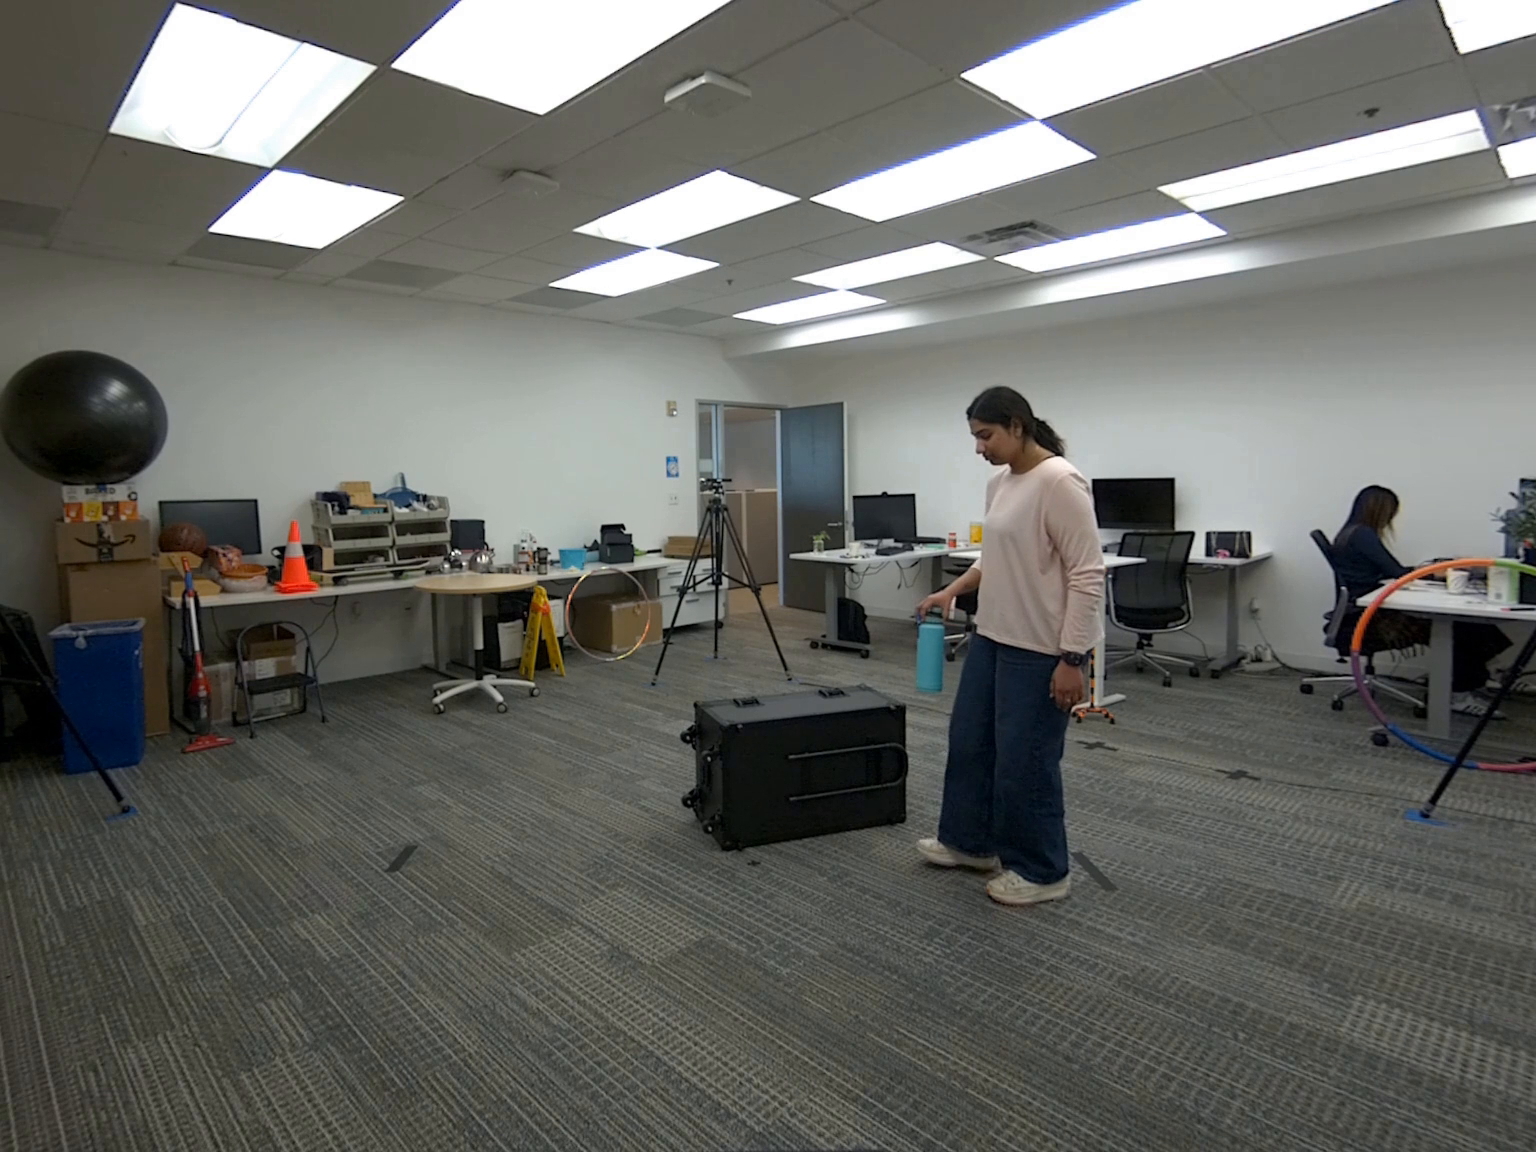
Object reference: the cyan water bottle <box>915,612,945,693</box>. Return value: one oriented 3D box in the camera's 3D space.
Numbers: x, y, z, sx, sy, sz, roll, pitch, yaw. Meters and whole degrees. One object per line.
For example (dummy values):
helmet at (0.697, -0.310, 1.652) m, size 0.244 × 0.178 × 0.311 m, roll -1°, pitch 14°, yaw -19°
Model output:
cyan water bottle at (0.568, 0.252, 2.919) m, size 0.092 × 0.284 × 0.092 m, roll 1°, pitch -1°, yaw -2°
